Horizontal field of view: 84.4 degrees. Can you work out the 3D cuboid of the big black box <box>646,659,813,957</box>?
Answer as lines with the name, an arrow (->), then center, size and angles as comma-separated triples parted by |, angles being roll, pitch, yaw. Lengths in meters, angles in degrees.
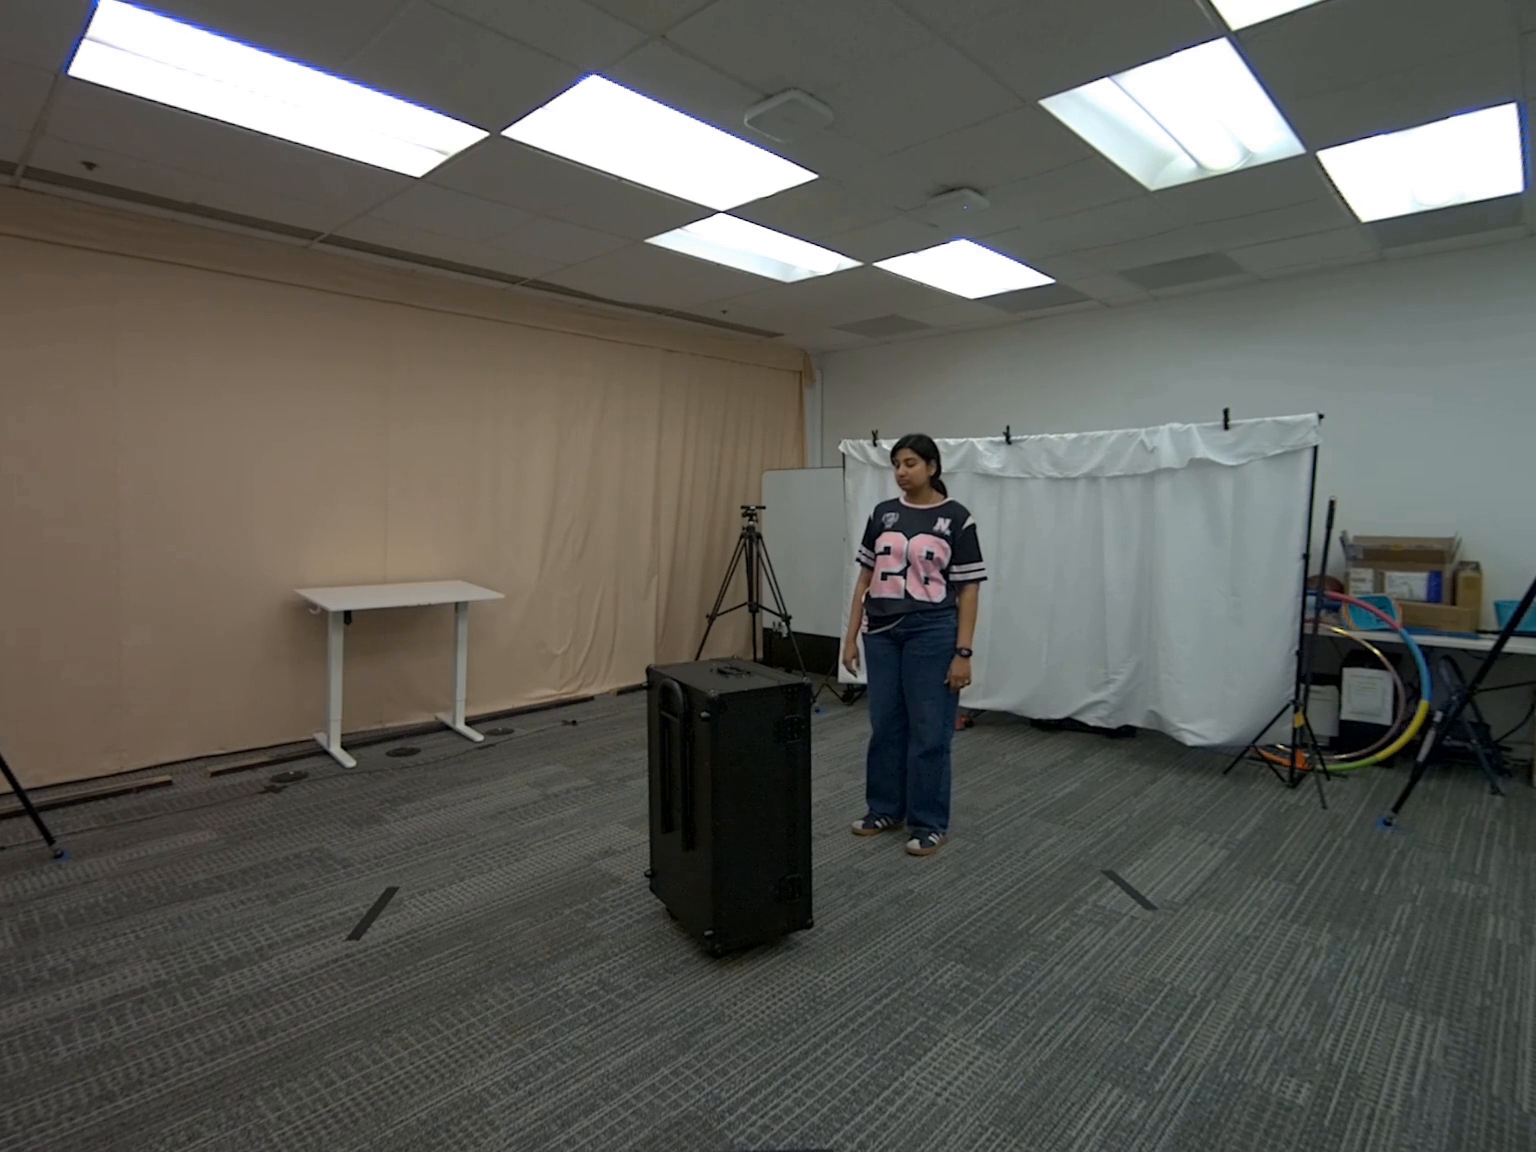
big black box -> -0.130, 0.743, 2.741 | 0.375, 0.866, 0.538 | -2, 4, -30
